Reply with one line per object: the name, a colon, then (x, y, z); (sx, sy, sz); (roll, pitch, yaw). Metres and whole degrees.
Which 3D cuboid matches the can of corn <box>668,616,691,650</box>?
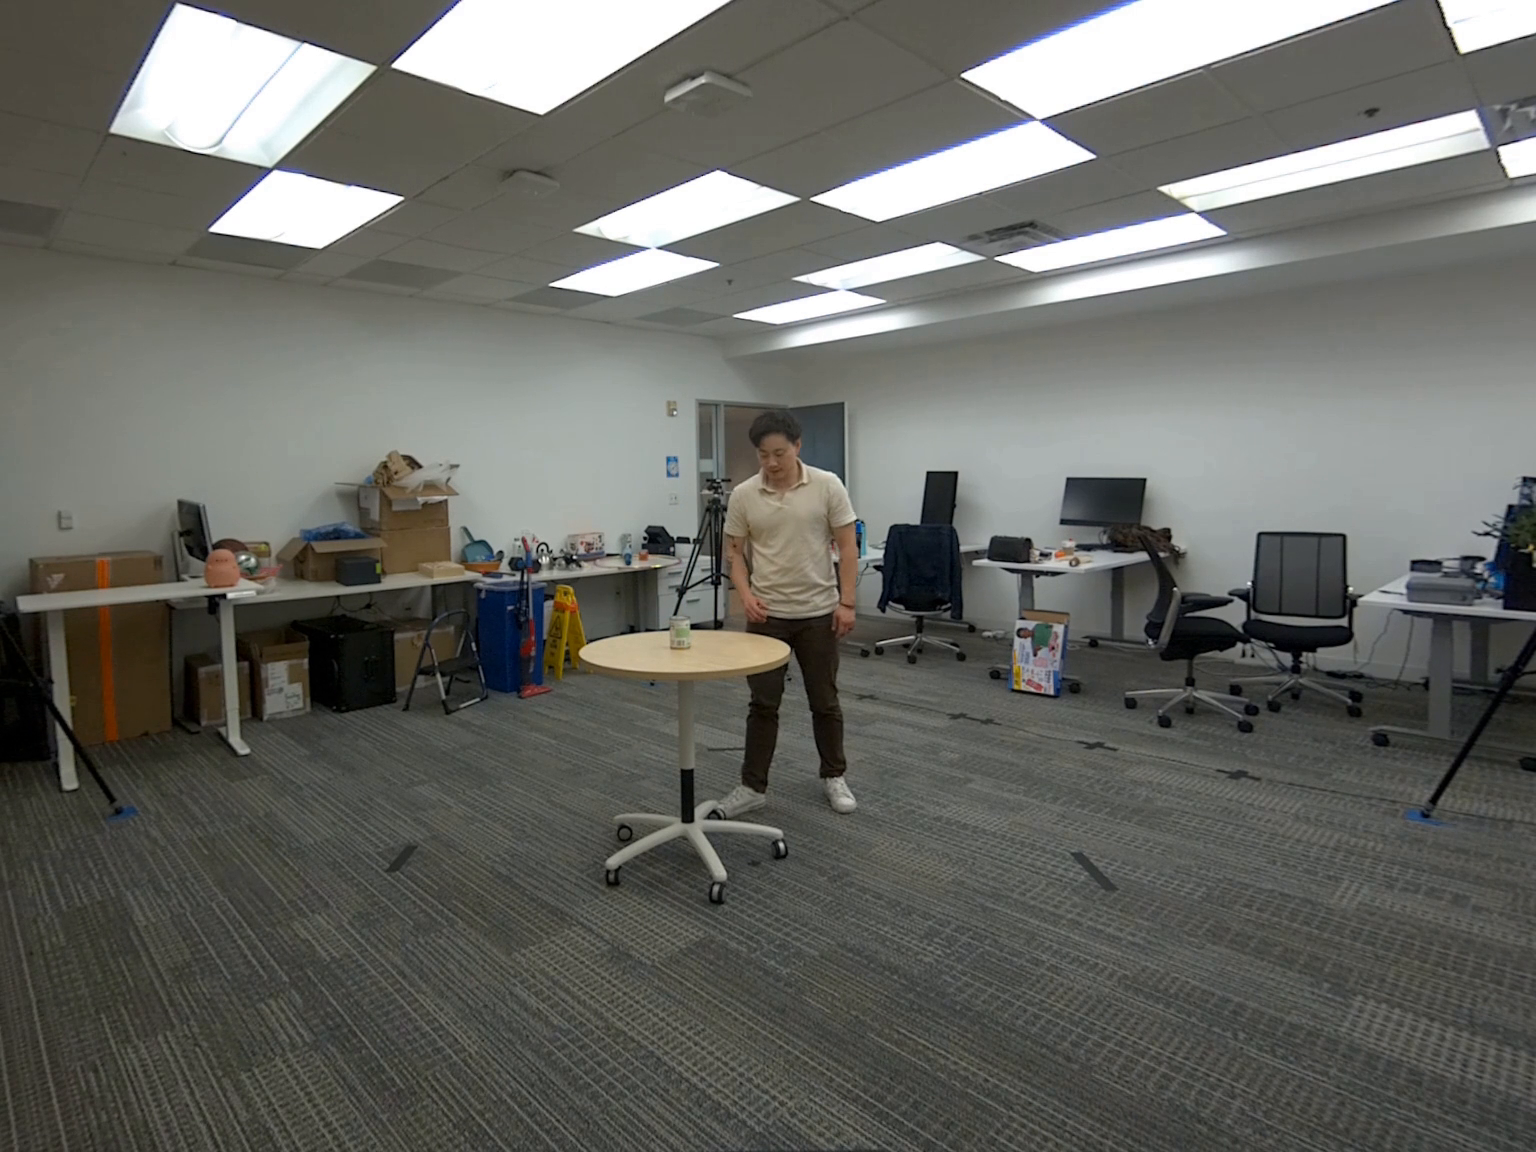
can of corn: (-0.316, 0.206, 3.118); (0.074, 0.110, 0.074); (0, 5, -2)
